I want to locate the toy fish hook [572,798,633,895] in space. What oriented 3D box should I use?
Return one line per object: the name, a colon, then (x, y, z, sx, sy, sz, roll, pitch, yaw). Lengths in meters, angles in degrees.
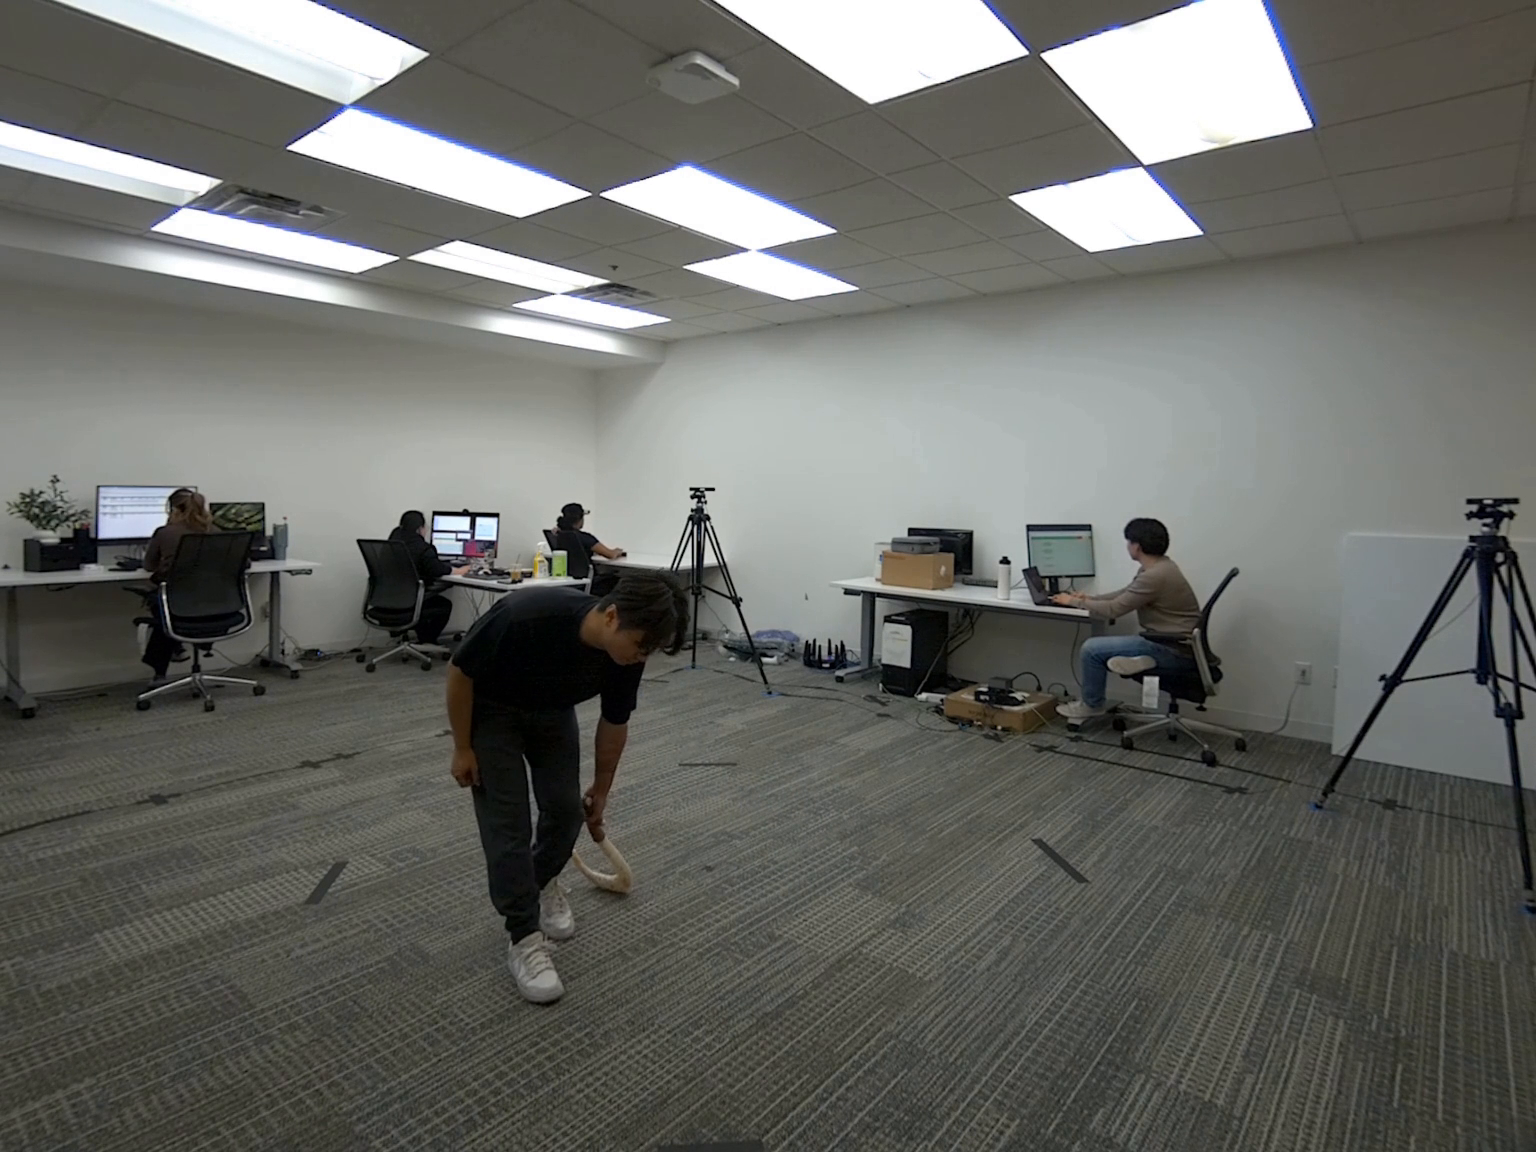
toy fish hook: (-0.593, 0.881, 2.795, 0.229, 0.491, 0.049, 3, 37, 16)
